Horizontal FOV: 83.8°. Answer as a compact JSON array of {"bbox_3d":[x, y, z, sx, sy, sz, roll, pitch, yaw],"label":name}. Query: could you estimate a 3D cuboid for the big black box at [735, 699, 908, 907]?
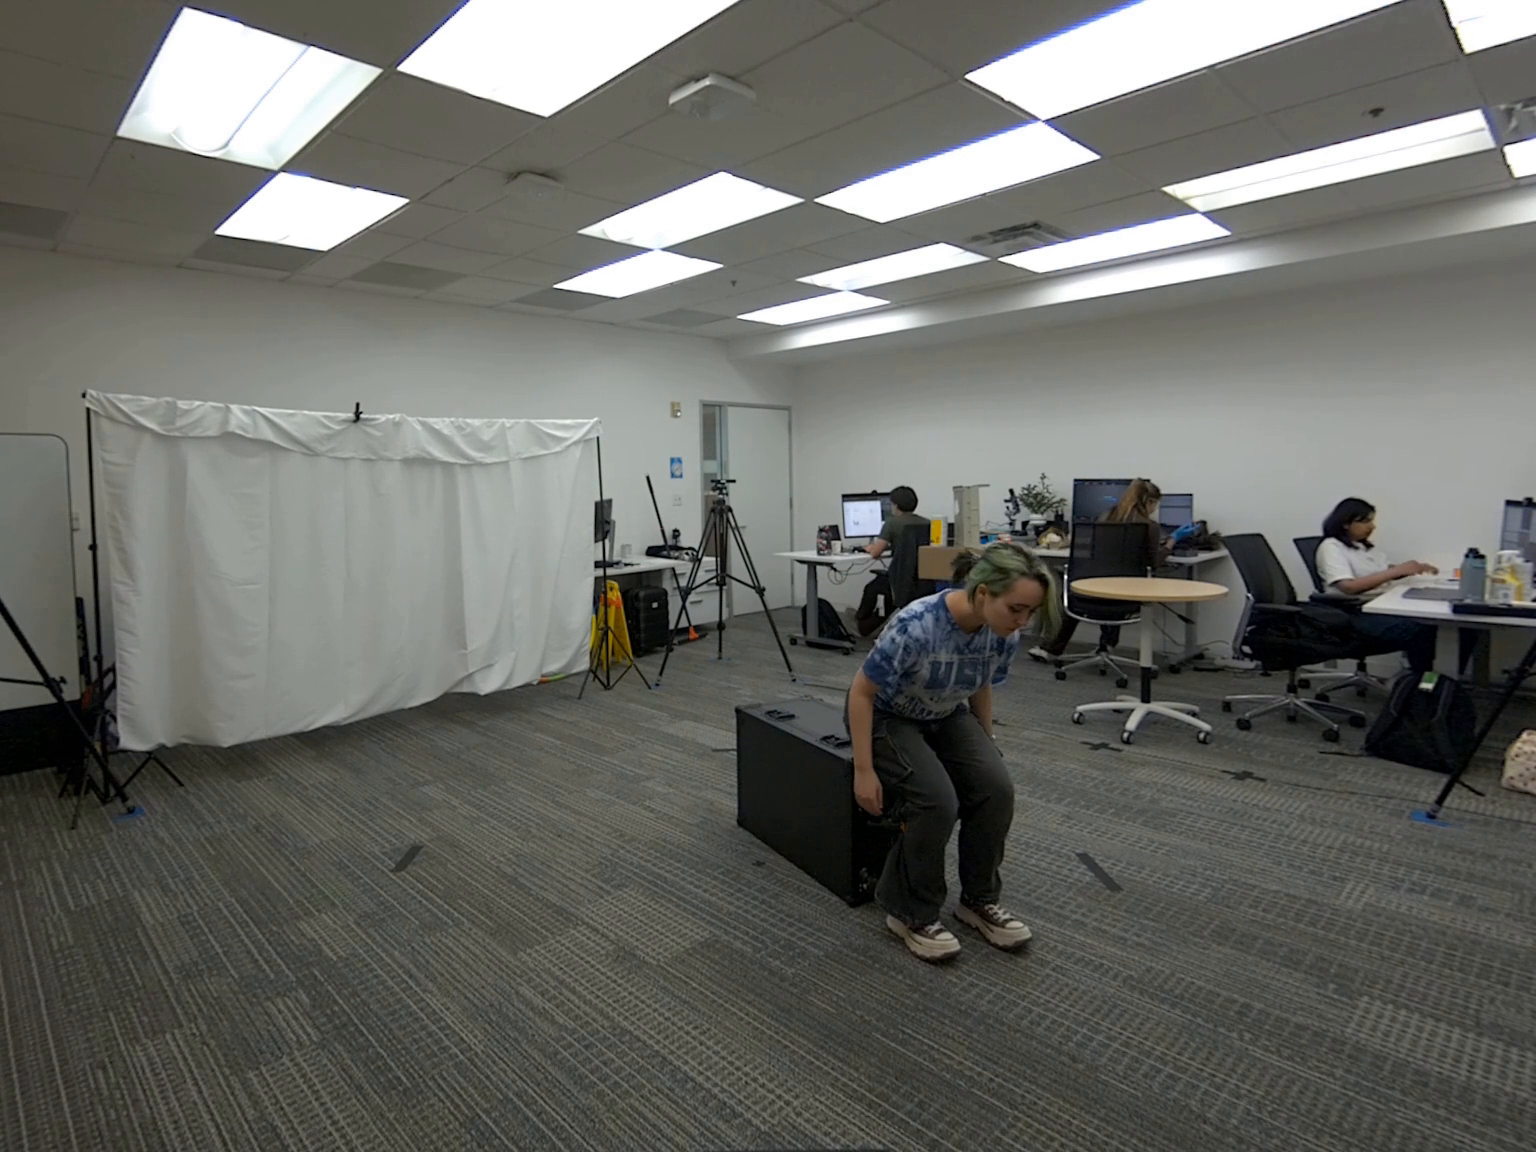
[{"bbox_3d":[0.248,0.793,3.162,0.387,0.519,0.885,-4,7,-28],"label":"big black box"}]
